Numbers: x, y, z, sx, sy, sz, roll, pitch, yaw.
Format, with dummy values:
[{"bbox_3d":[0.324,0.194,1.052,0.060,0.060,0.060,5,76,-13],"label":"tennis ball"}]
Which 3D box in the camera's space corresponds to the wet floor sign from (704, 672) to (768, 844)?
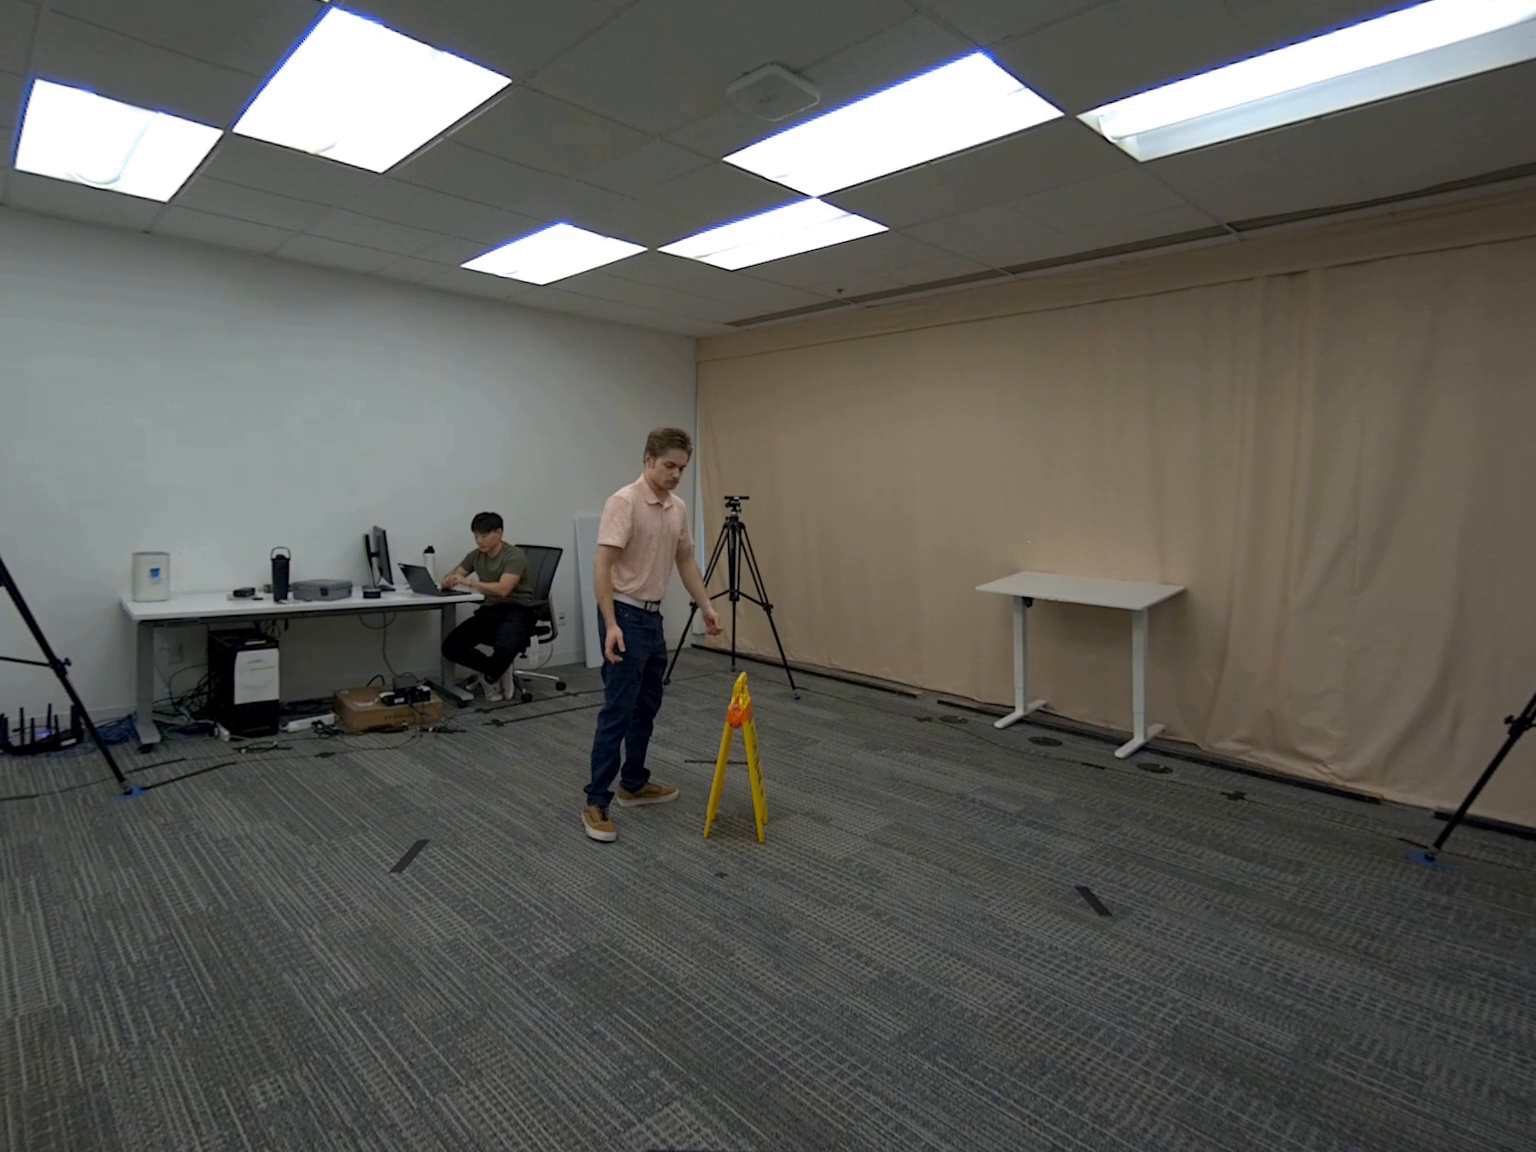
[{"bbox_3d":[-0.125,0.740,3.529,0.291,0.644,0.281,4,4,6],"label":"wet floor sign"}]
